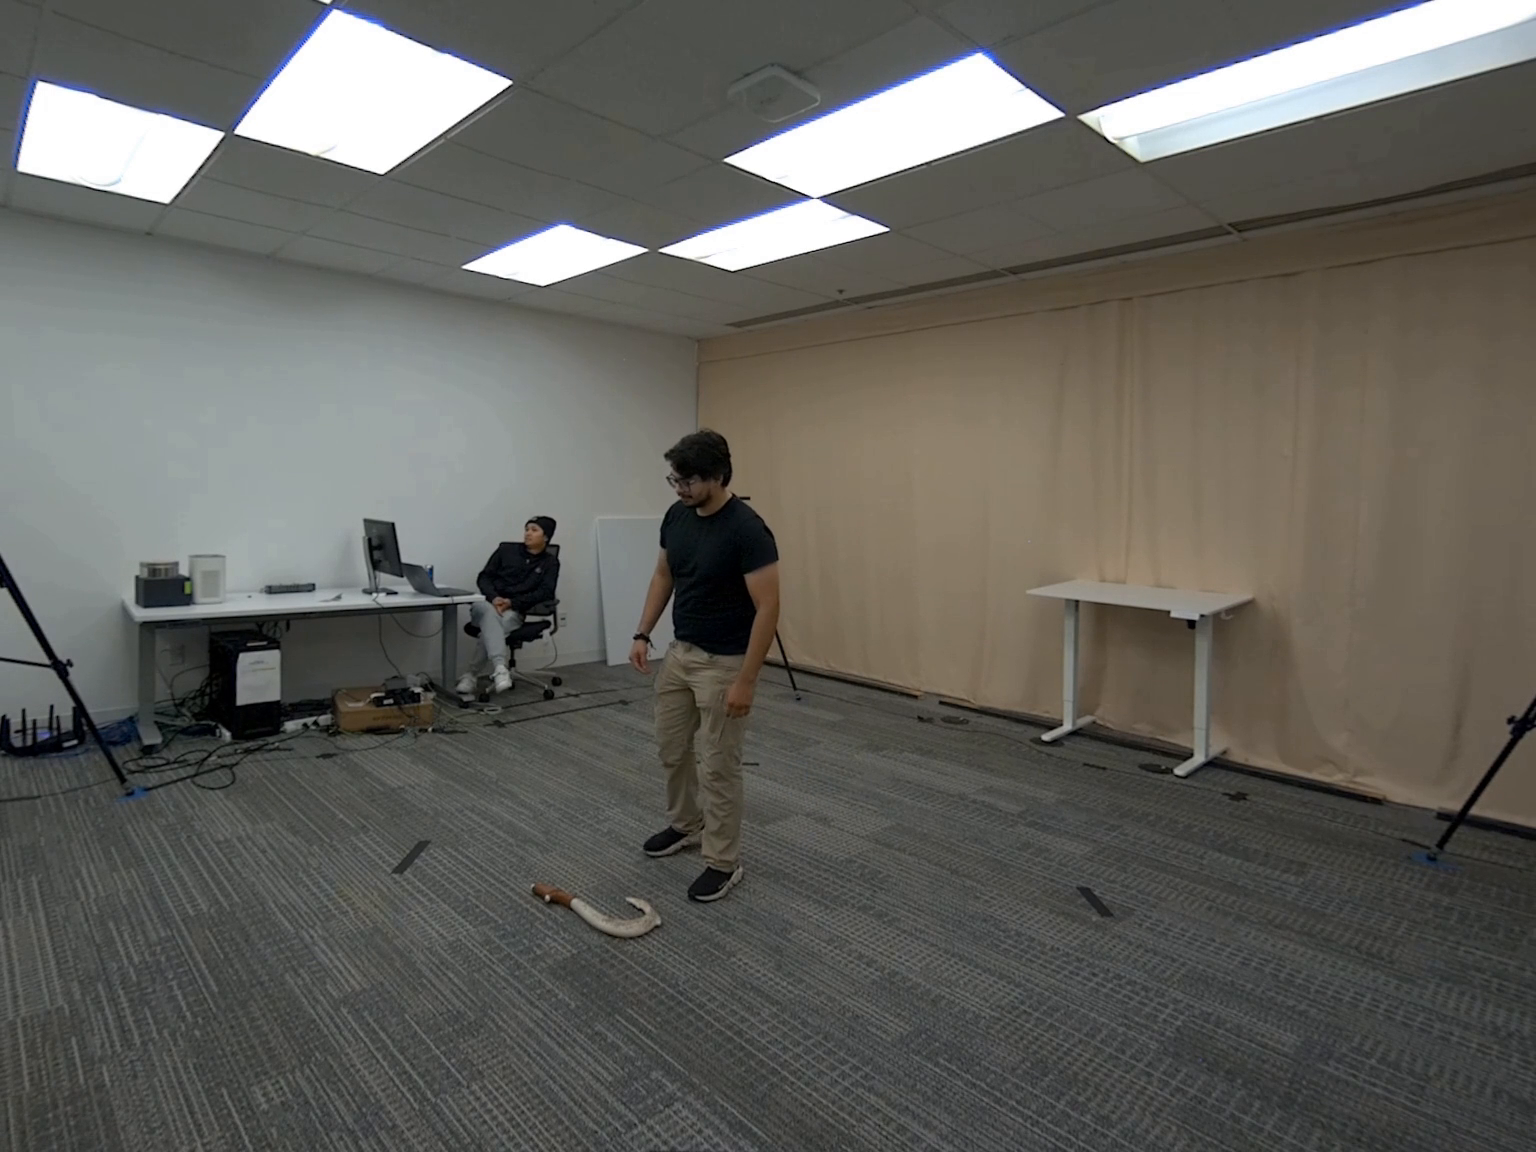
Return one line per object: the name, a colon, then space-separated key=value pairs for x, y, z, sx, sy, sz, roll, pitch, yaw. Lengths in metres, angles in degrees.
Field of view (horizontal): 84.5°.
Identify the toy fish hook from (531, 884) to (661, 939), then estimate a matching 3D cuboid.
toy fish hook: x=-0.590 y=1.106 z=2.832 sx=0.519 sy=0.048 sz=0.219 roll=6 pitch=0 yaw=35
